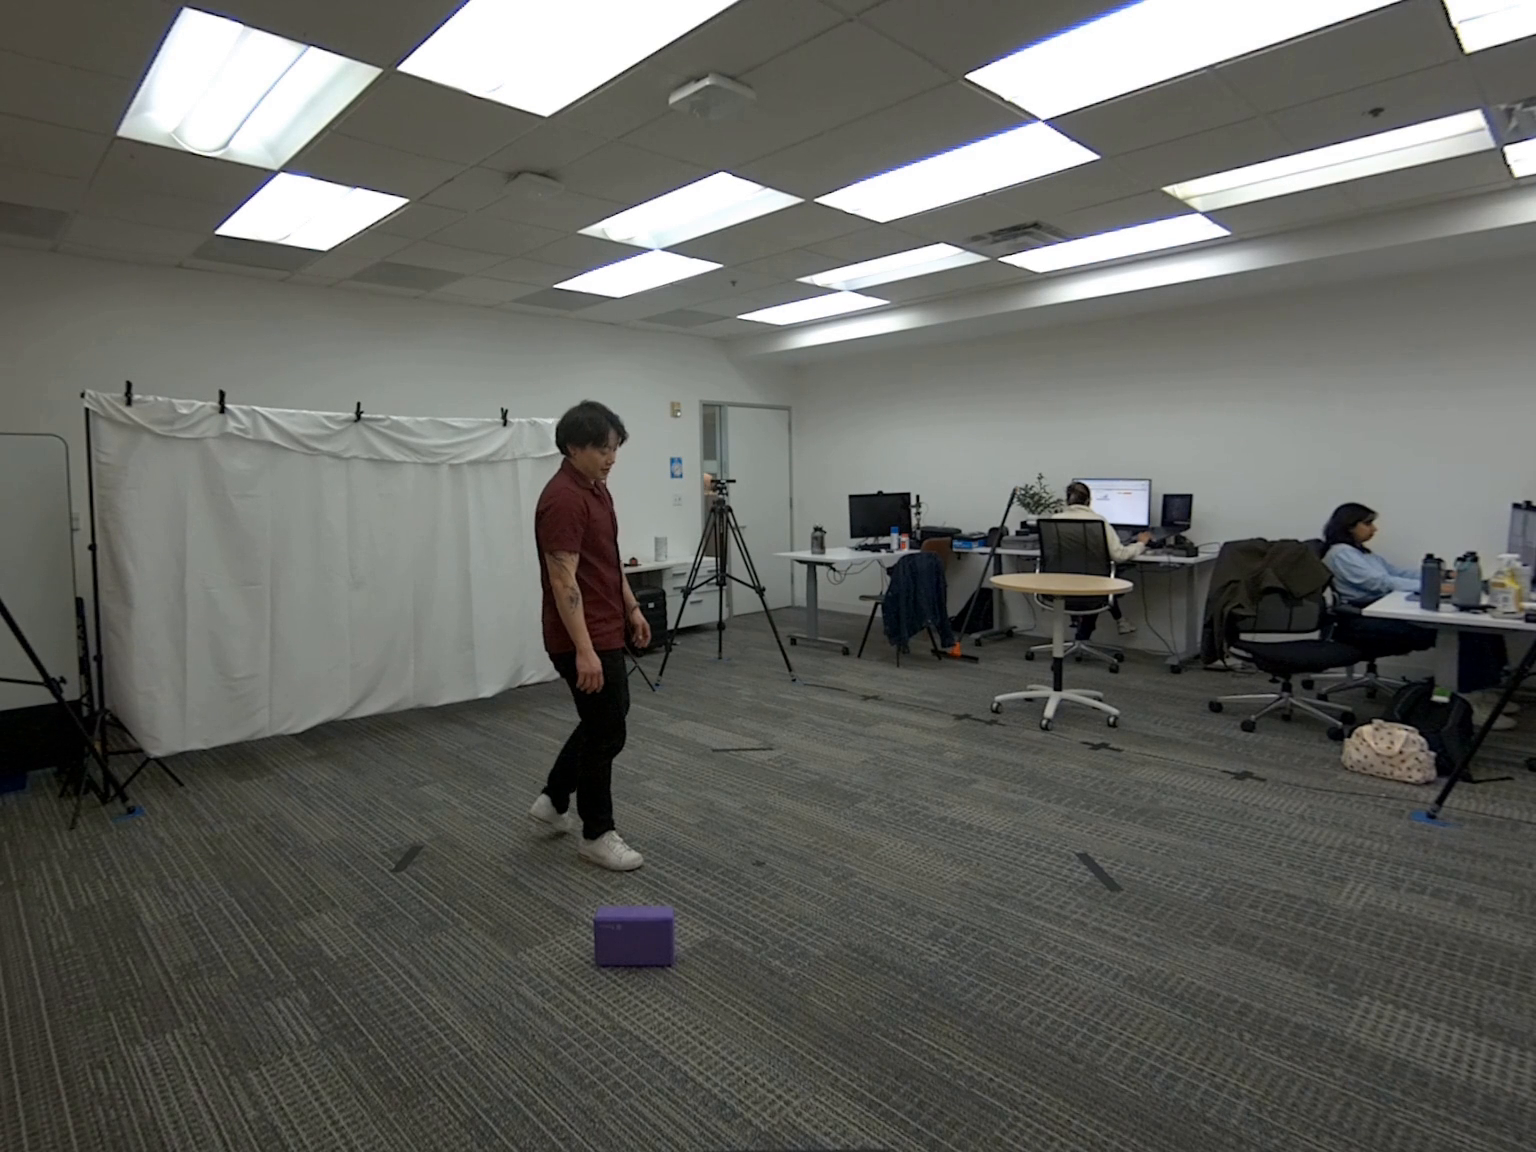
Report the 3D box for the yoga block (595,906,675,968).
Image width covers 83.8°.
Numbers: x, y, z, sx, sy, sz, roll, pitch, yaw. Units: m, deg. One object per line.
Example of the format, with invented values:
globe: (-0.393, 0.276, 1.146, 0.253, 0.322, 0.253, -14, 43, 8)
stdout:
yoga block: (-0.386, 1.048, 2.491, 0.230, 0.148, 0.076, -1, 5, 2)
